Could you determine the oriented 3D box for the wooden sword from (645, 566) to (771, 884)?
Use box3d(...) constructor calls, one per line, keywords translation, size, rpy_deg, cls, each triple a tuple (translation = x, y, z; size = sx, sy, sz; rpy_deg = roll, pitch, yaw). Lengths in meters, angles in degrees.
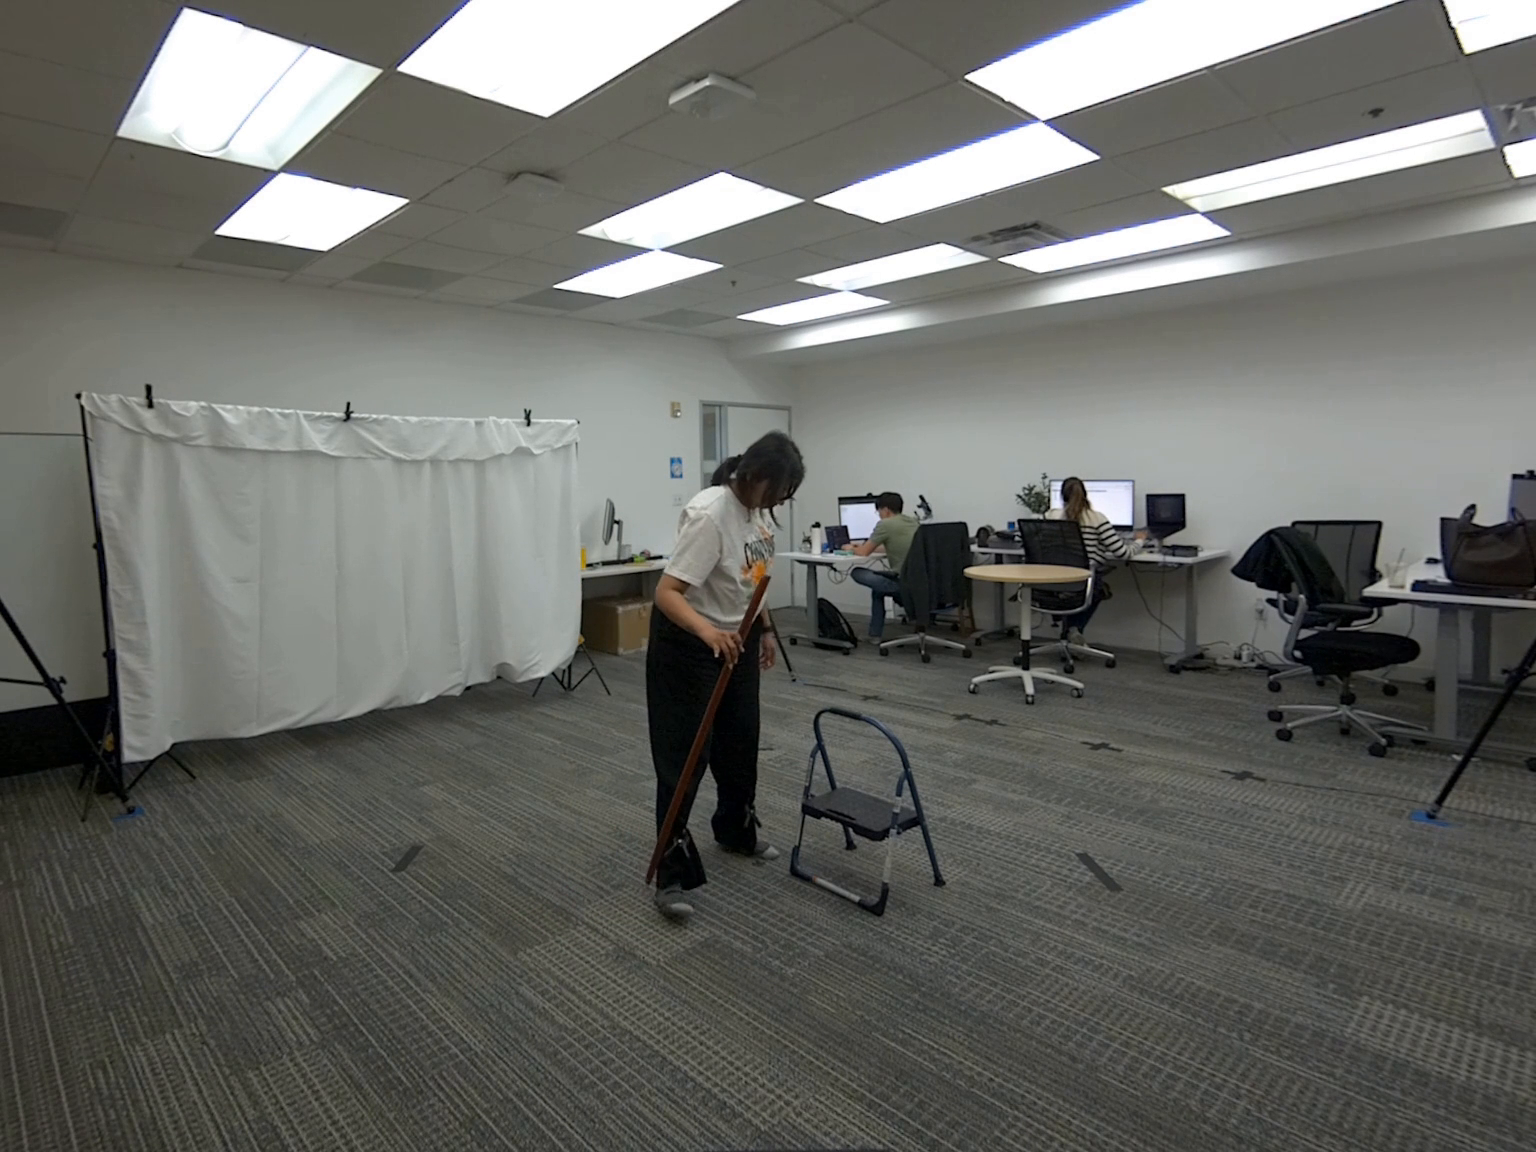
box3d(translation=(-0.195, 0.477, 2.545), size=(0.024, 1.020, 0.050), rpy_deg=(23, 8, 17), cls="wooden sword")
